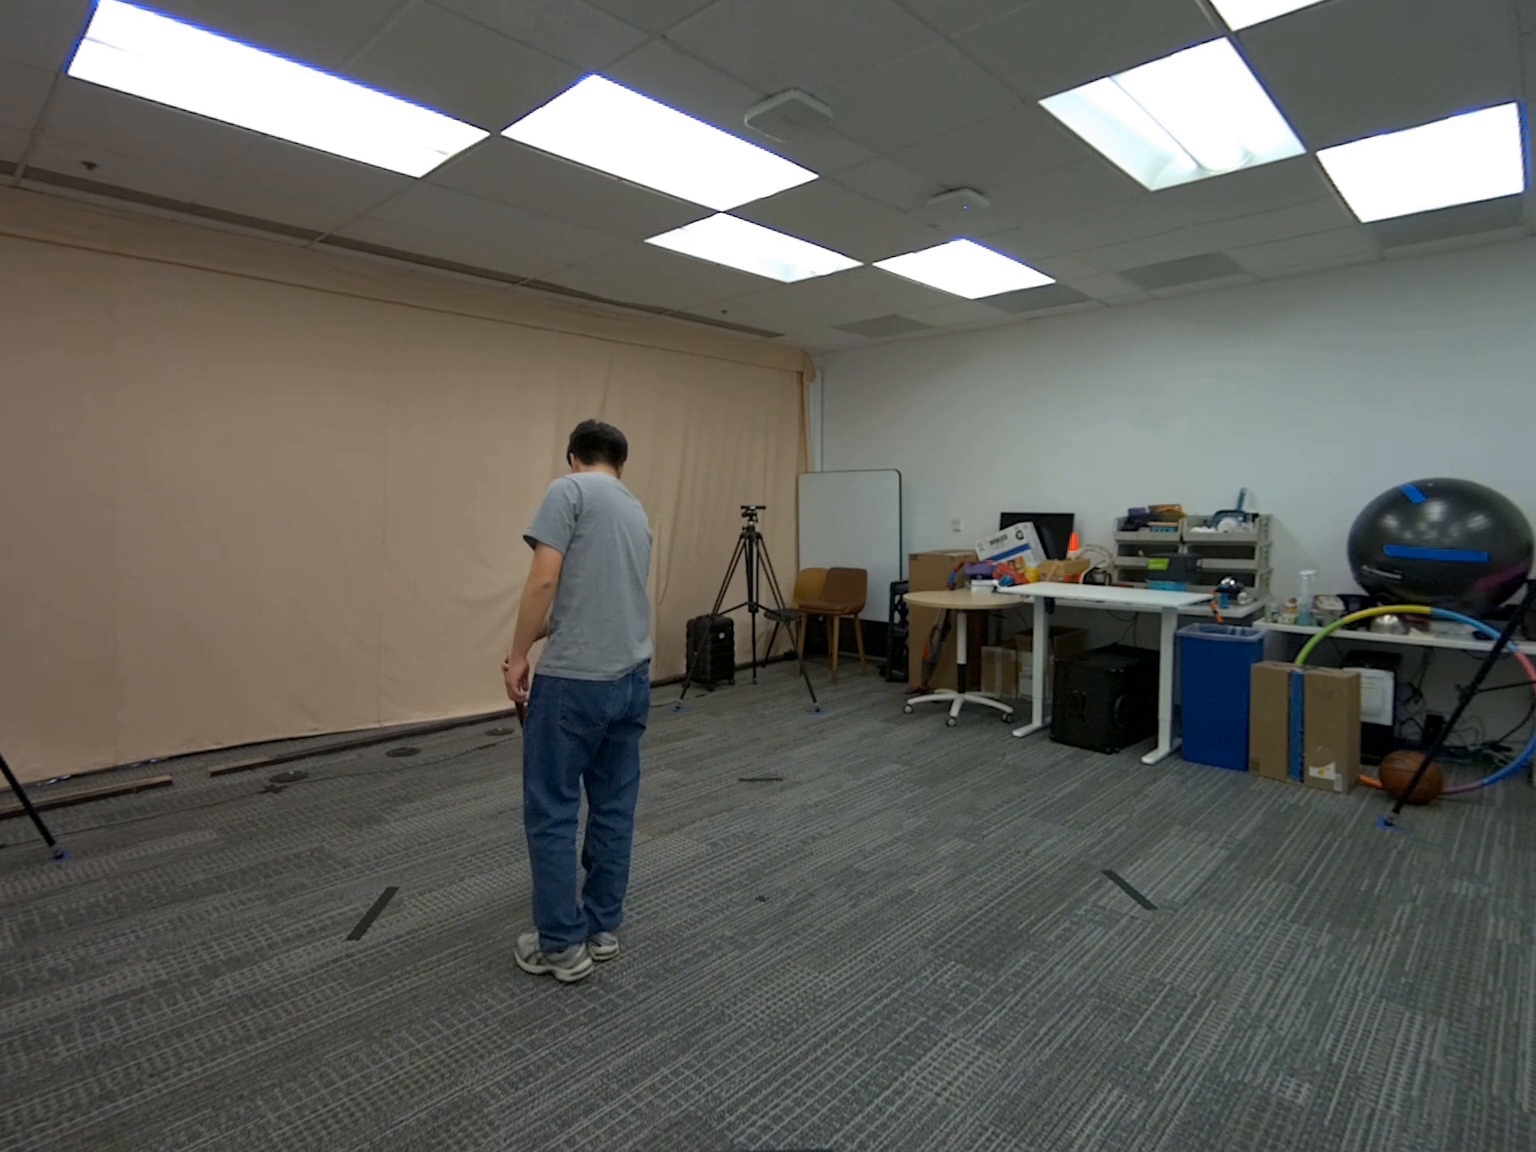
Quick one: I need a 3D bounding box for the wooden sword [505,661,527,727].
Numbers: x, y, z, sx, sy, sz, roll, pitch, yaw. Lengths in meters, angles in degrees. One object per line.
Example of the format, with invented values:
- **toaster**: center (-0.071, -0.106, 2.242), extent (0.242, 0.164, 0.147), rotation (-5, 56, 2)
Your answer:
- **wooden sword**: center (-0.824, 0.709, 3.008), extent (0.024, 1.006, 0.053), rotation (-17, 33, -21)
